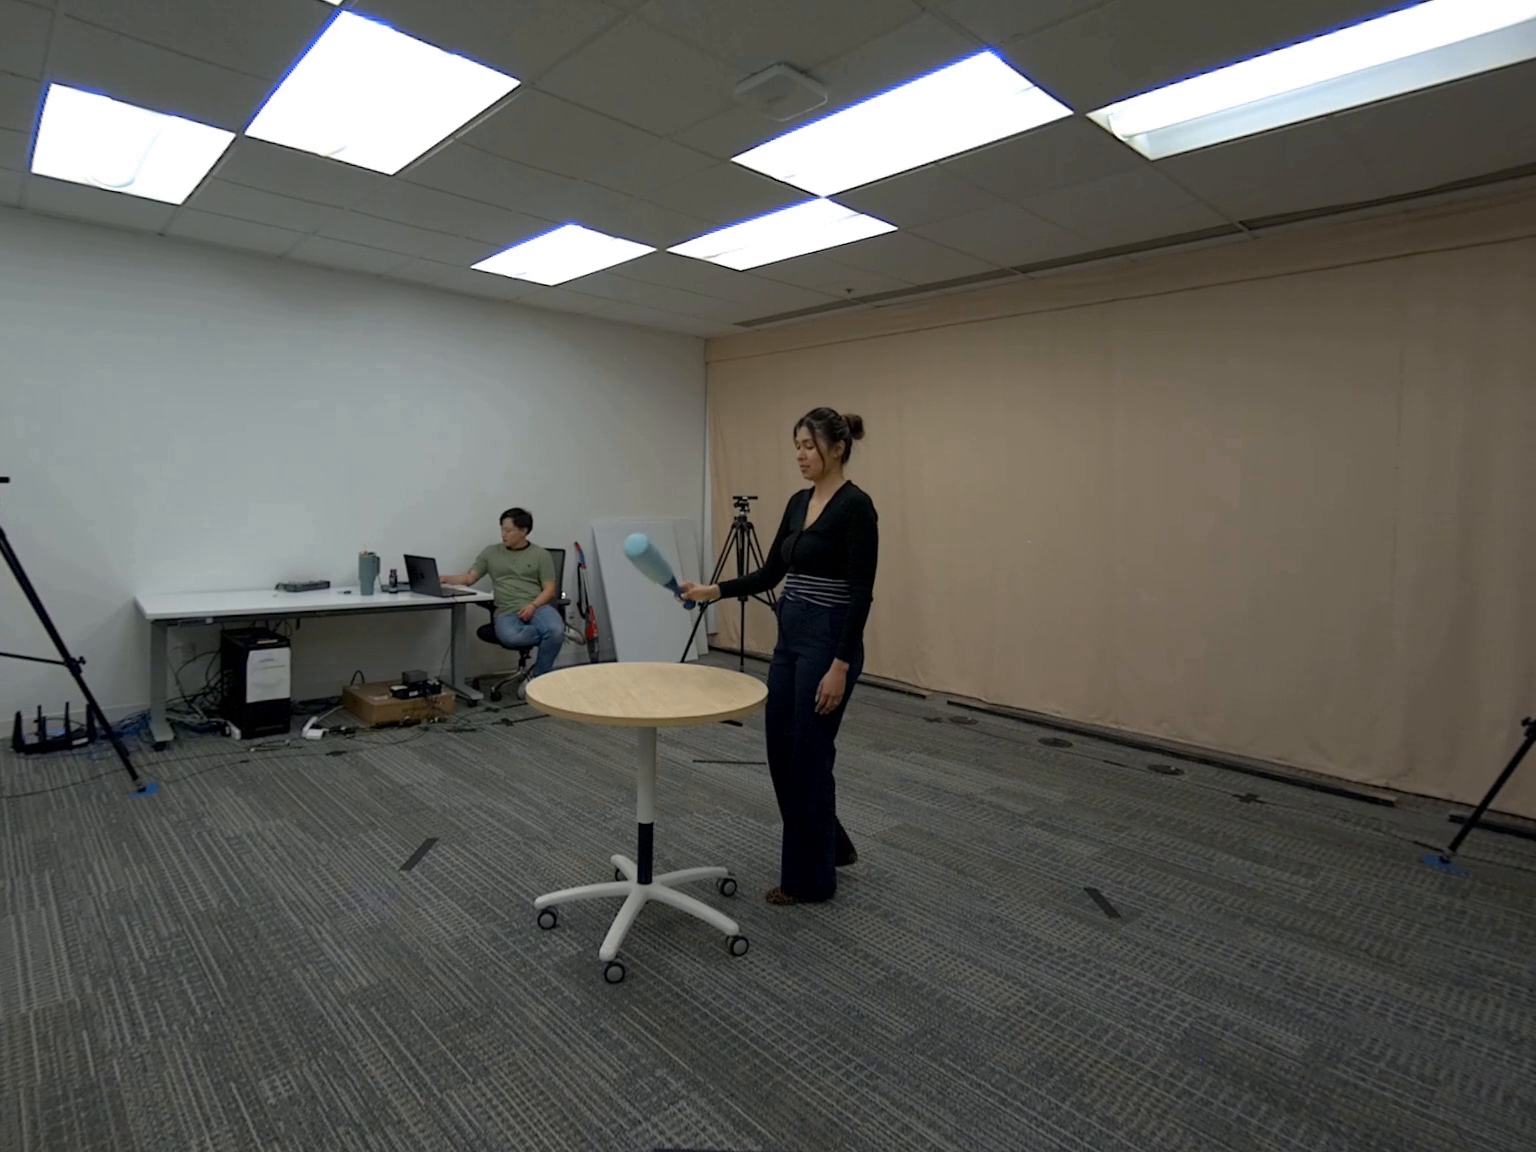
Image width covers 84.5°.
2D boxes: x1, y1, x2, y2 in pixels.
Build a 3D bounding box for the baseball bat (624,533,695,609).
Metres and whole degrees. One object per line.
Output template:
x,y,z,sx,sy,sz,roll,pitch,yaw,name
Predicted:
-0.339,0.002,2.791,0.090,0.090,0.528,3,-22,19,baseball bat
